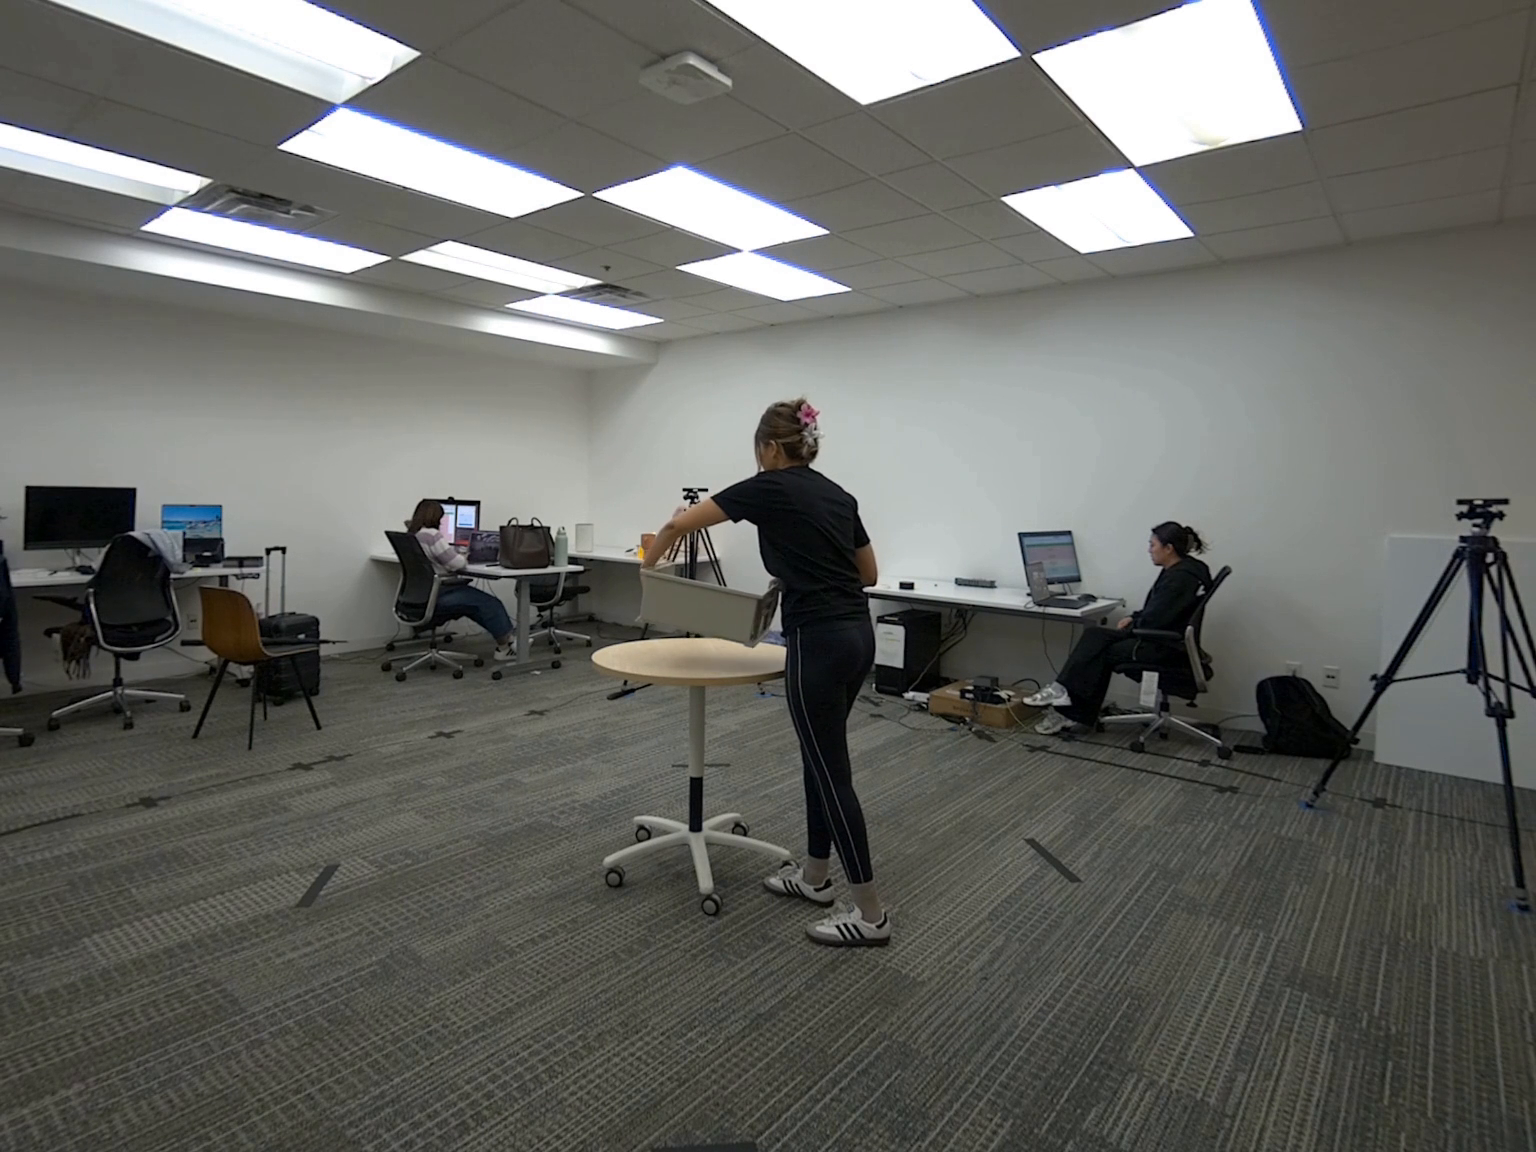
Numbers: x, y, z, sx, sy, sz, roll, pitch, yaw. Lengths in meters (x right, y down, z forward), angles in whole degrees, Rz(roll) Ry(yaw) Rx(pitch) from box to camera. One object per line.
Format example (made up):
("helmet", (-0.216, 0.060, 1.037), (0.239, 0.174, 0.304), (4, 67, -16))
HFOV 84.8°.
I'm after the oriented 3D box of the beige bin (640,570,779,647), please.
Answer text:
("beige bin", (-0.201, 0.087, 2.957), (0.429, 0.188, 0.374), (11, 10, 11))
